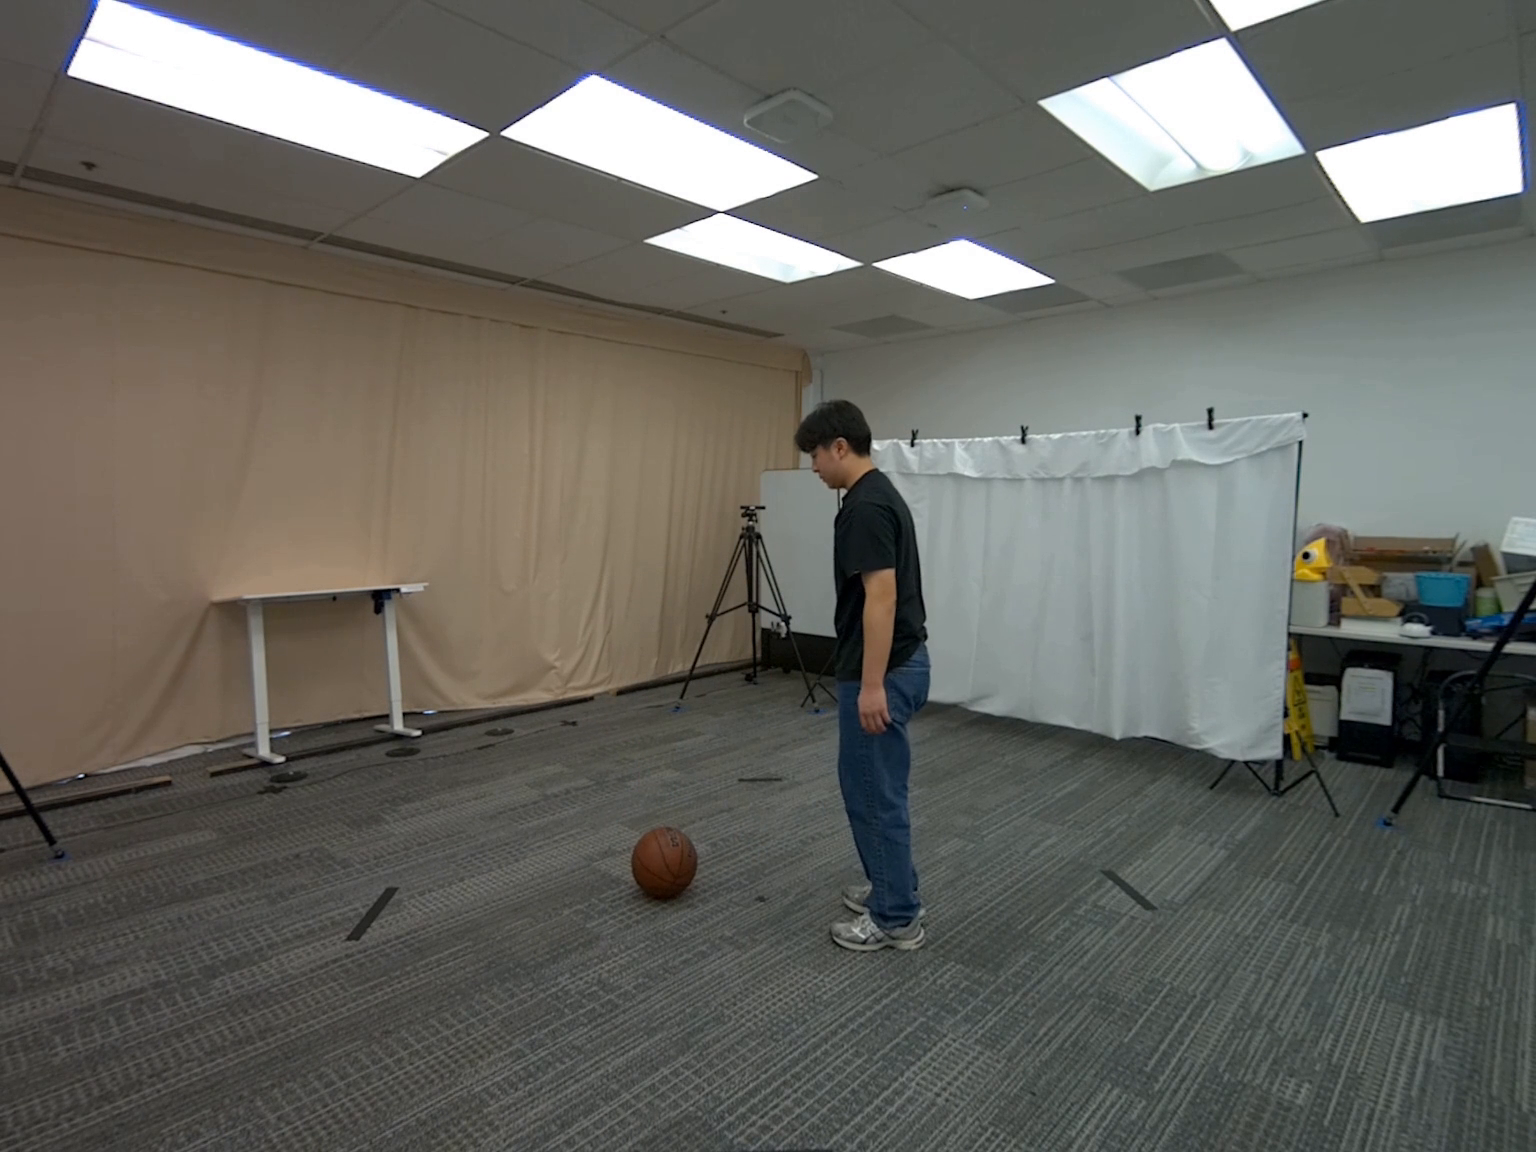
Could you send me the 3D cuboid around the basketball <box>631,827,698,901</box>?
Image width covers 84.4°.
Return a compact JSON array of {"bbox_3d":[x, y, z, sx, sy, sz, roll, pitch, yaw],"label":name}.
[{"bbox_3d":[-0.367,1.023,3.017,0.236,0.235,0.237,0,4,-2],"label":"basketball"}]
